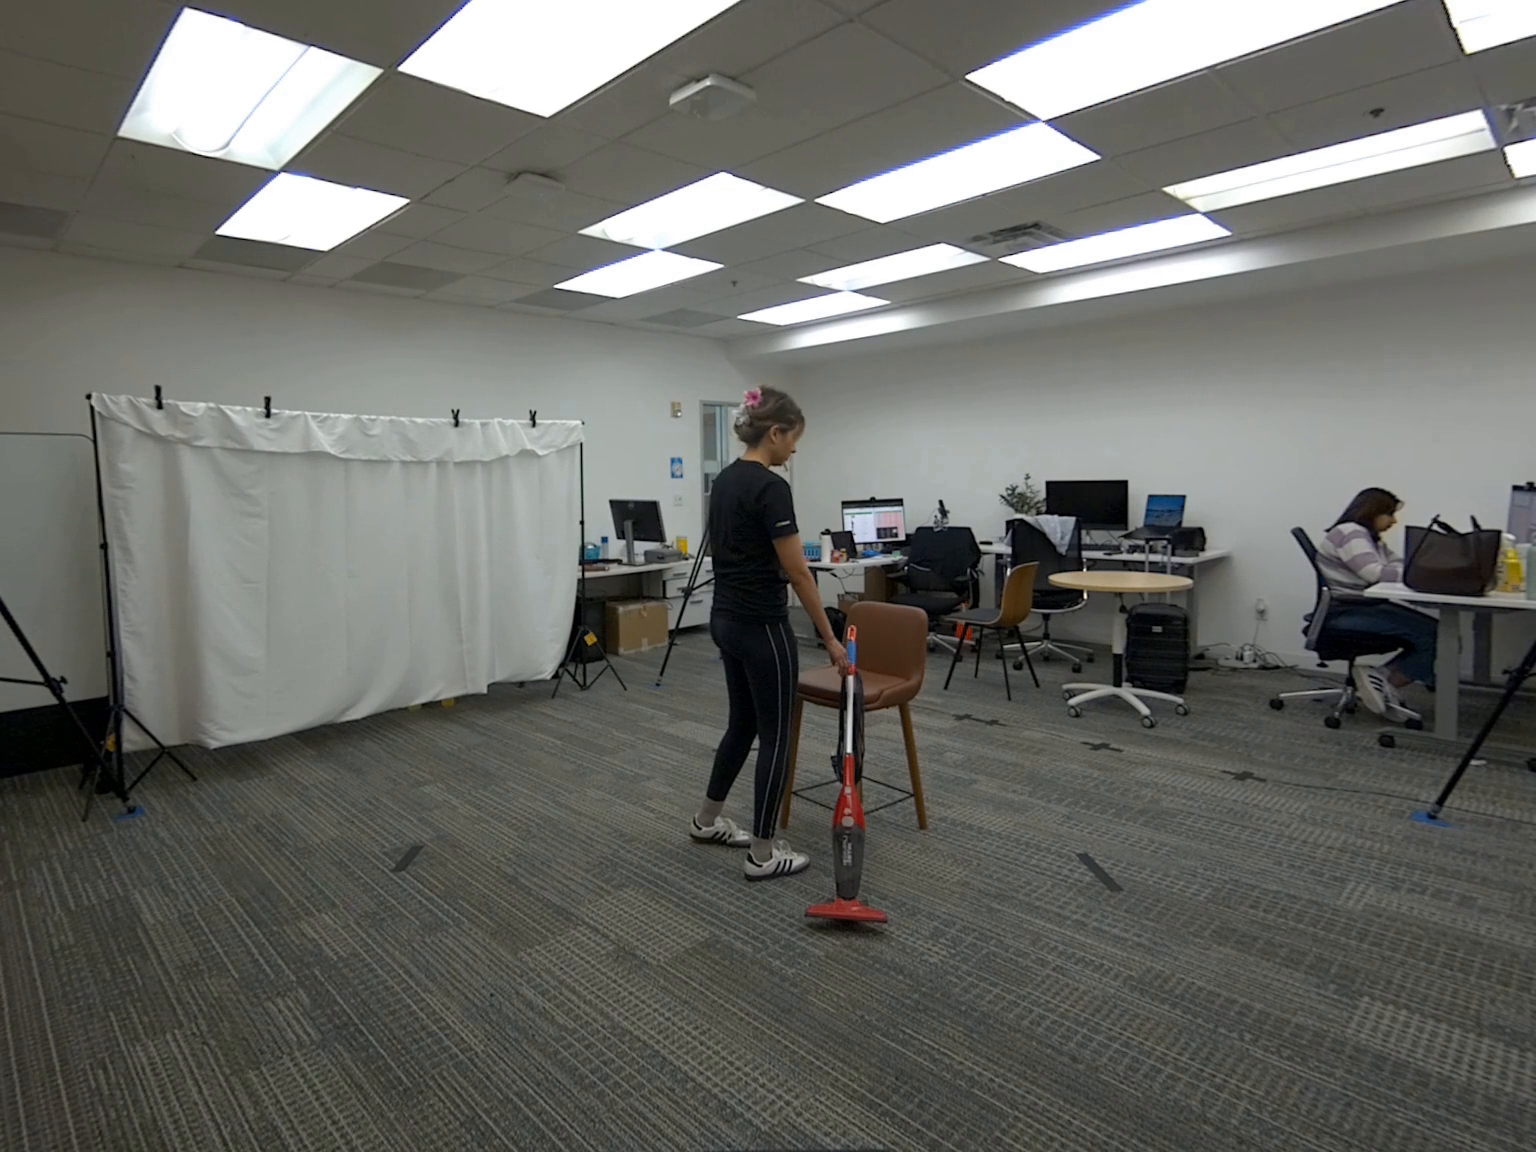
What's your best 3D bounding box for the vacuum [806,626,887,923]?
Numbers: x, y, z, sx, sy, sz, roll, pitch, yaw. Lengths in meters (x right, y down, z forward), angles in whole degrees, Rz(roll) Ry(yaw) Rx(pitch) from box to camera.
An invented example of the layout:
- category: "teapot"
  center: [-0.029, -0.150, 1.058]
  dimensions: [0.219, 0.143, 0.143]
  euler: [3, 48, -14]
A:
- category: "vacuum"
  center: [0.295, 0.646, 2.973]
  dimensions: [0.255, 1.072, 0.139]
  euler: [-1, -36, 10]
